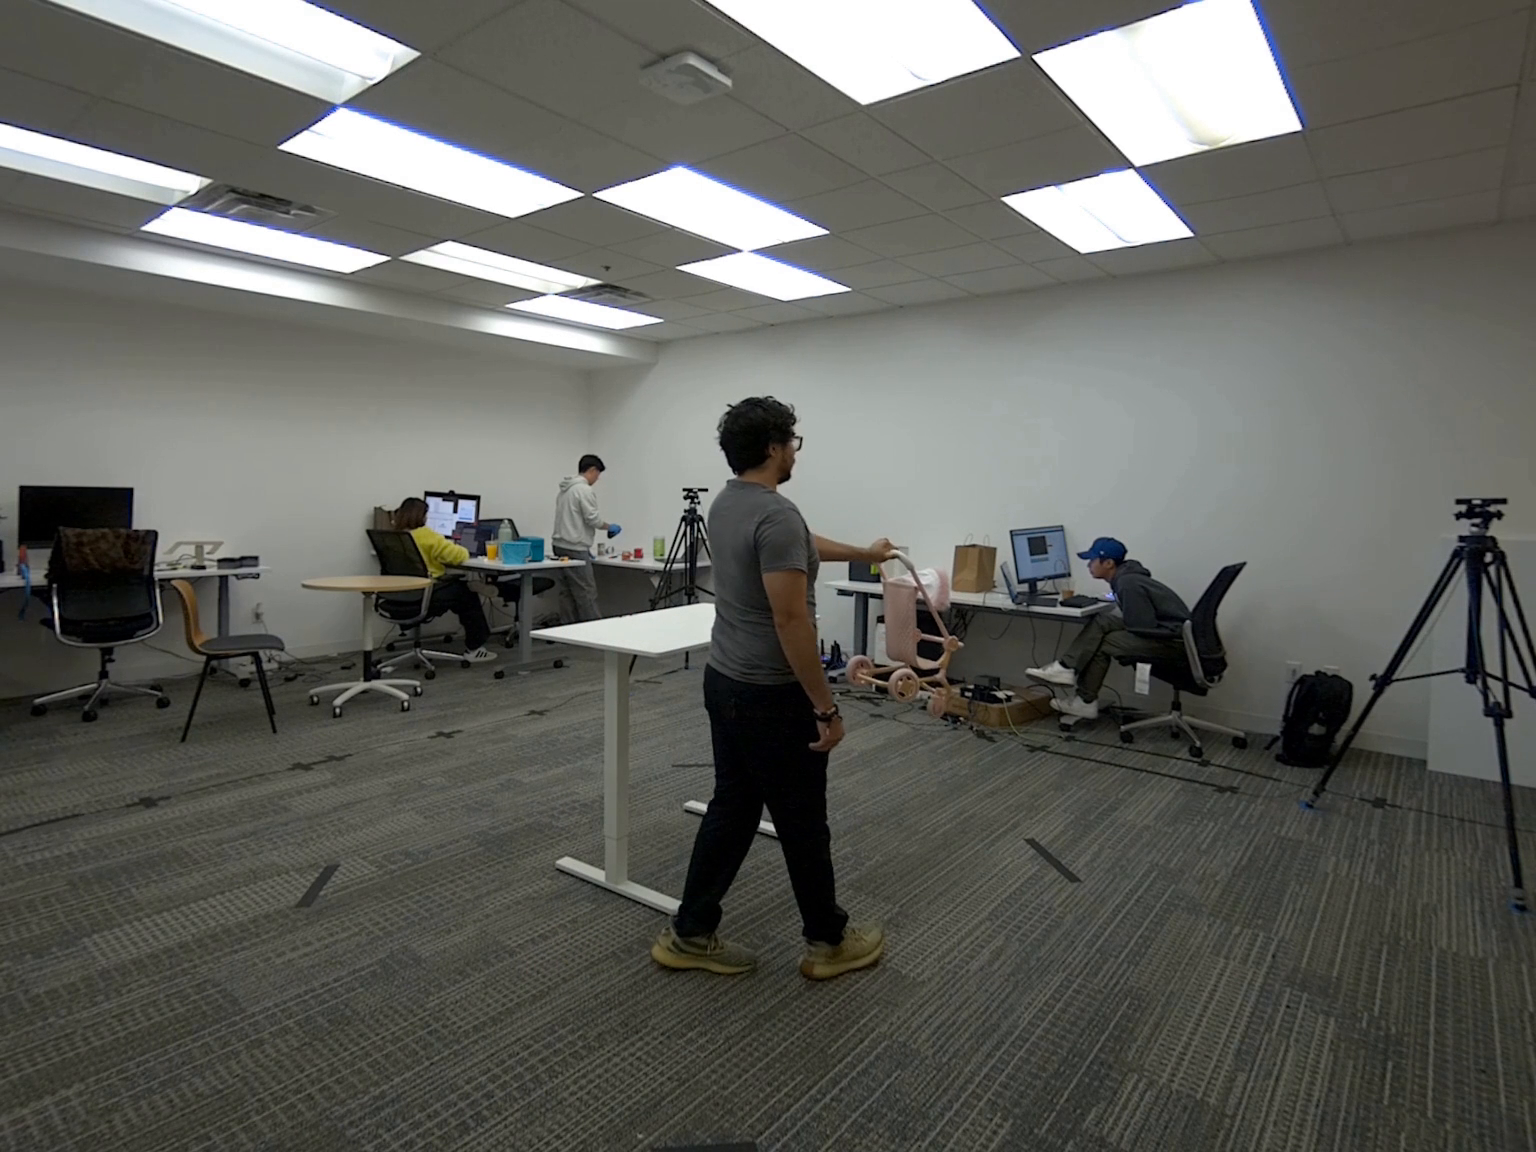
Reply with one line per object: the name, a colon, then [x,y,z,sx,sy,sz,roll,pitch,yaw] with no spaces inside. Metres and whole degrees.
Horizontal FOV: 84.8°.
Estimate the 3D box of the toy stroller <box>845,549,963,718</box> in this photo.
toy stroller: [0.486,0.193,2.821,0.333,0.536,0.288,8,-2,-22]
